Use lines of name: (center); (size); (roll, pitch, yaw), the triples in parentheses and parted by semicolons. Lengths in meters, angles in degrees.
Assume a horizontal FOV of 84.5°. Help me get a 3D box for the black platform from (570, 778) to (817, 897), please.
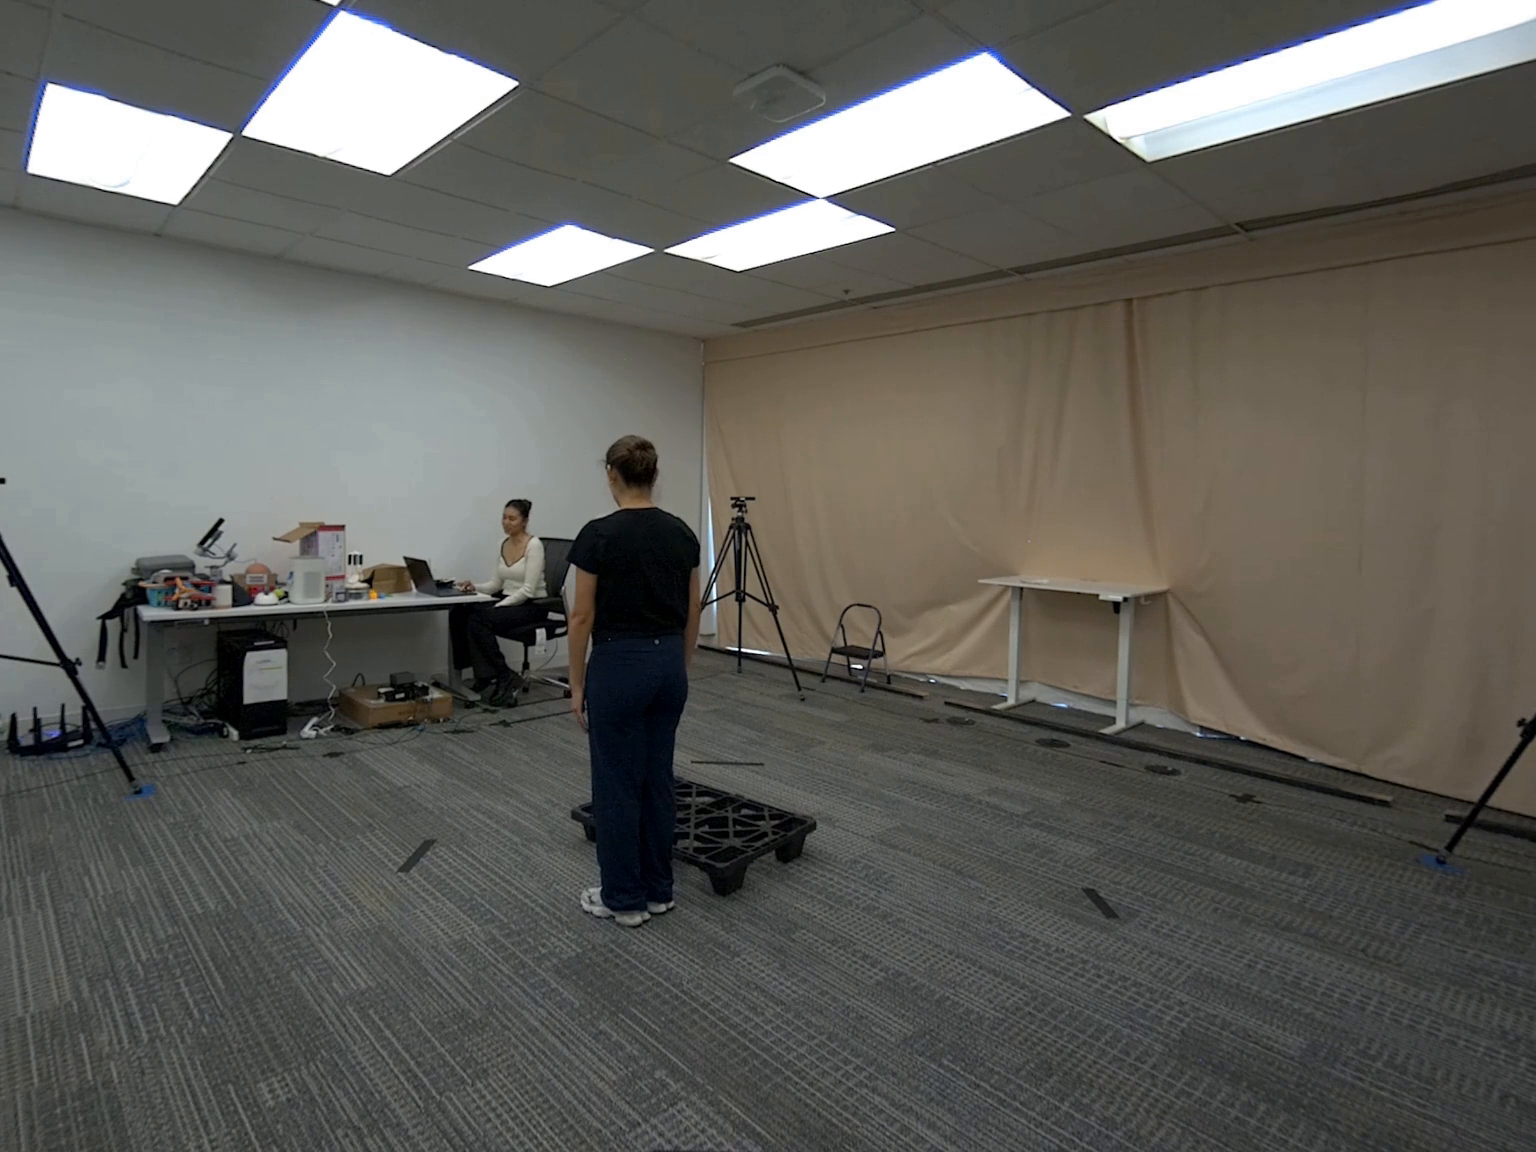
black platform: (-0.303, 1.019, 3.327); (0.825, 0.143, 0.592); (5, 7, 38)
